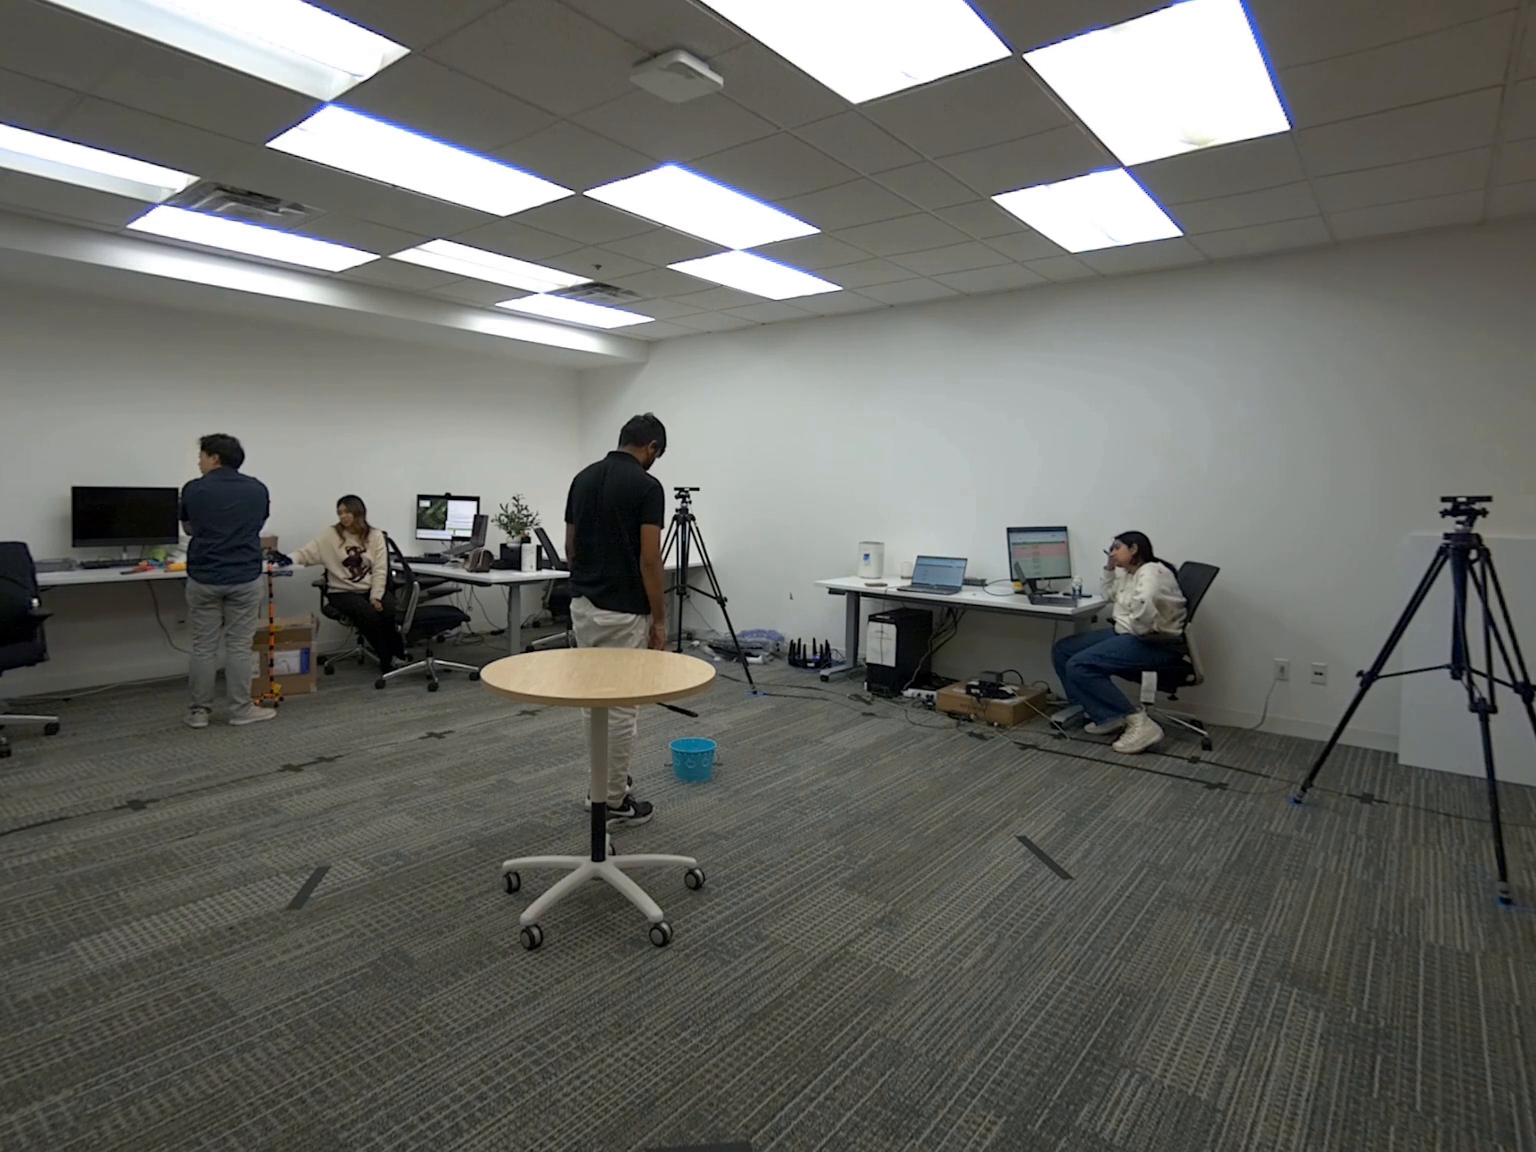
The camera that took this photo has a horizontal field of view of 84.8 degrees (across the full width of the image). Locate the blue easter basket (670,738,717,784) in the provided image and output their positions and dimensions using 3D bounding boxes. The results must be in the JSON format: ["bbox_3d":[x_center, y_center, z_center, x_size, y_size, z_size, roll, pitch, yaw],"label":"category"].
[{"bbox_3d":[-0.371,0.886,4.125,0.243,0.155,0.245,0,5,-2],"label":"blue easter basket"}]
